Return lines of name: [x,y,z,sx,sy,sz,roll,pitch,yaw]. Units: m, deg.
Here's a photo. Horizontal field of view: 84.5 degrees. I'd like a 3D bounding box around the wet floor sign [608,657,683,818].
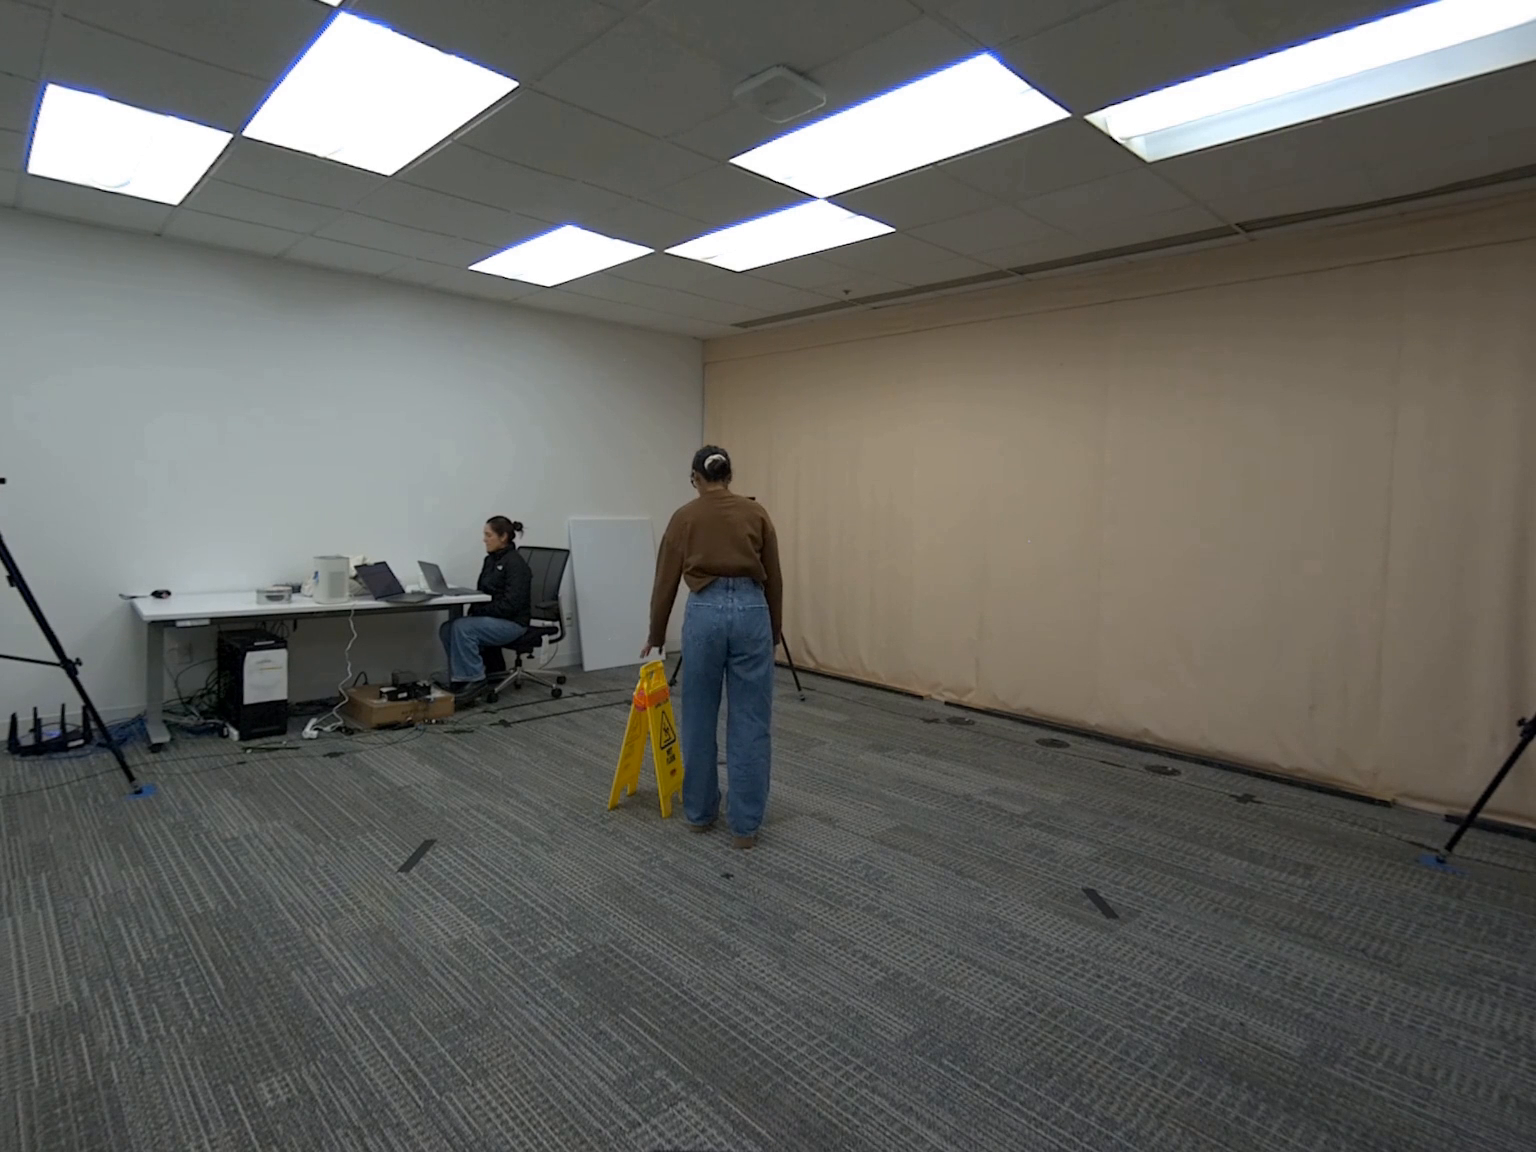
wet floor sign: [-0.542,0.710,3.805,0.294,0.645,0.278,3,2,17]
